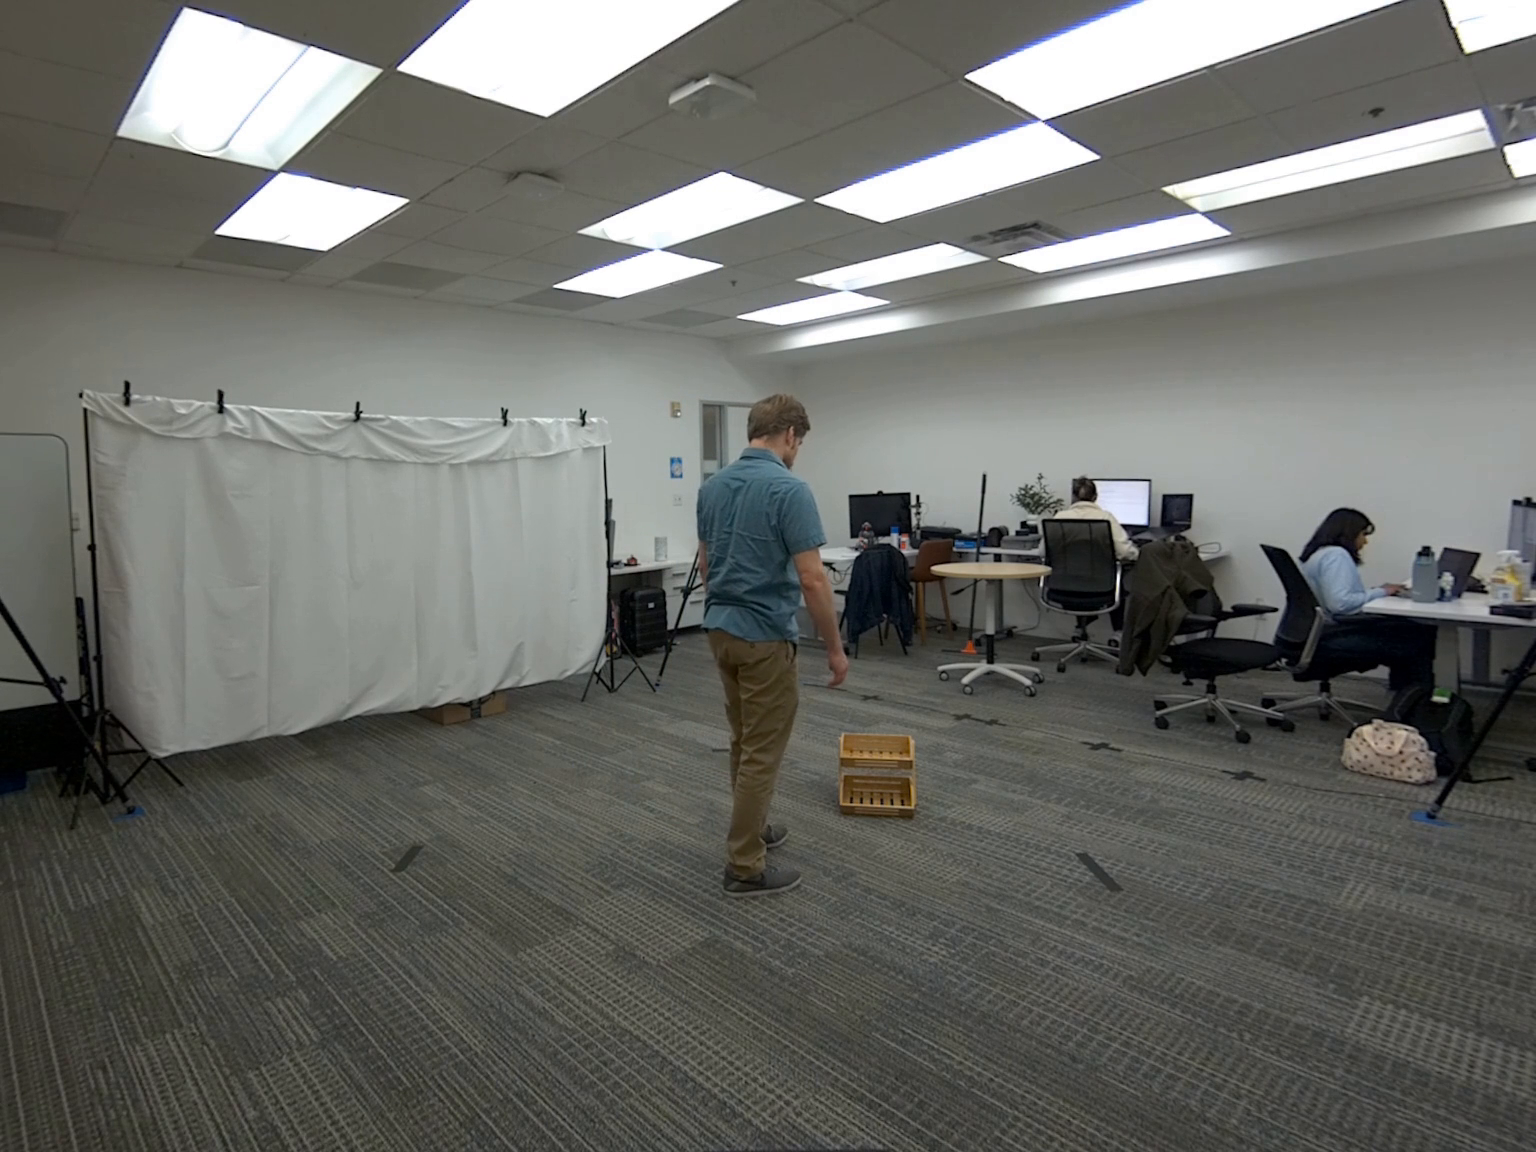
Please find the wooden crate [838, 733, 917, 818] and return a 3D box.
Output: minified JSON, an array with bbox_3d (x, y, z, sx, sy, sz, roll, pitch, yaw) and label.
[{"bbox_3d":[0.467,0.842,3.648,0.327,0.272,0.300,0,5,8],"label":"wooden crate"}]
